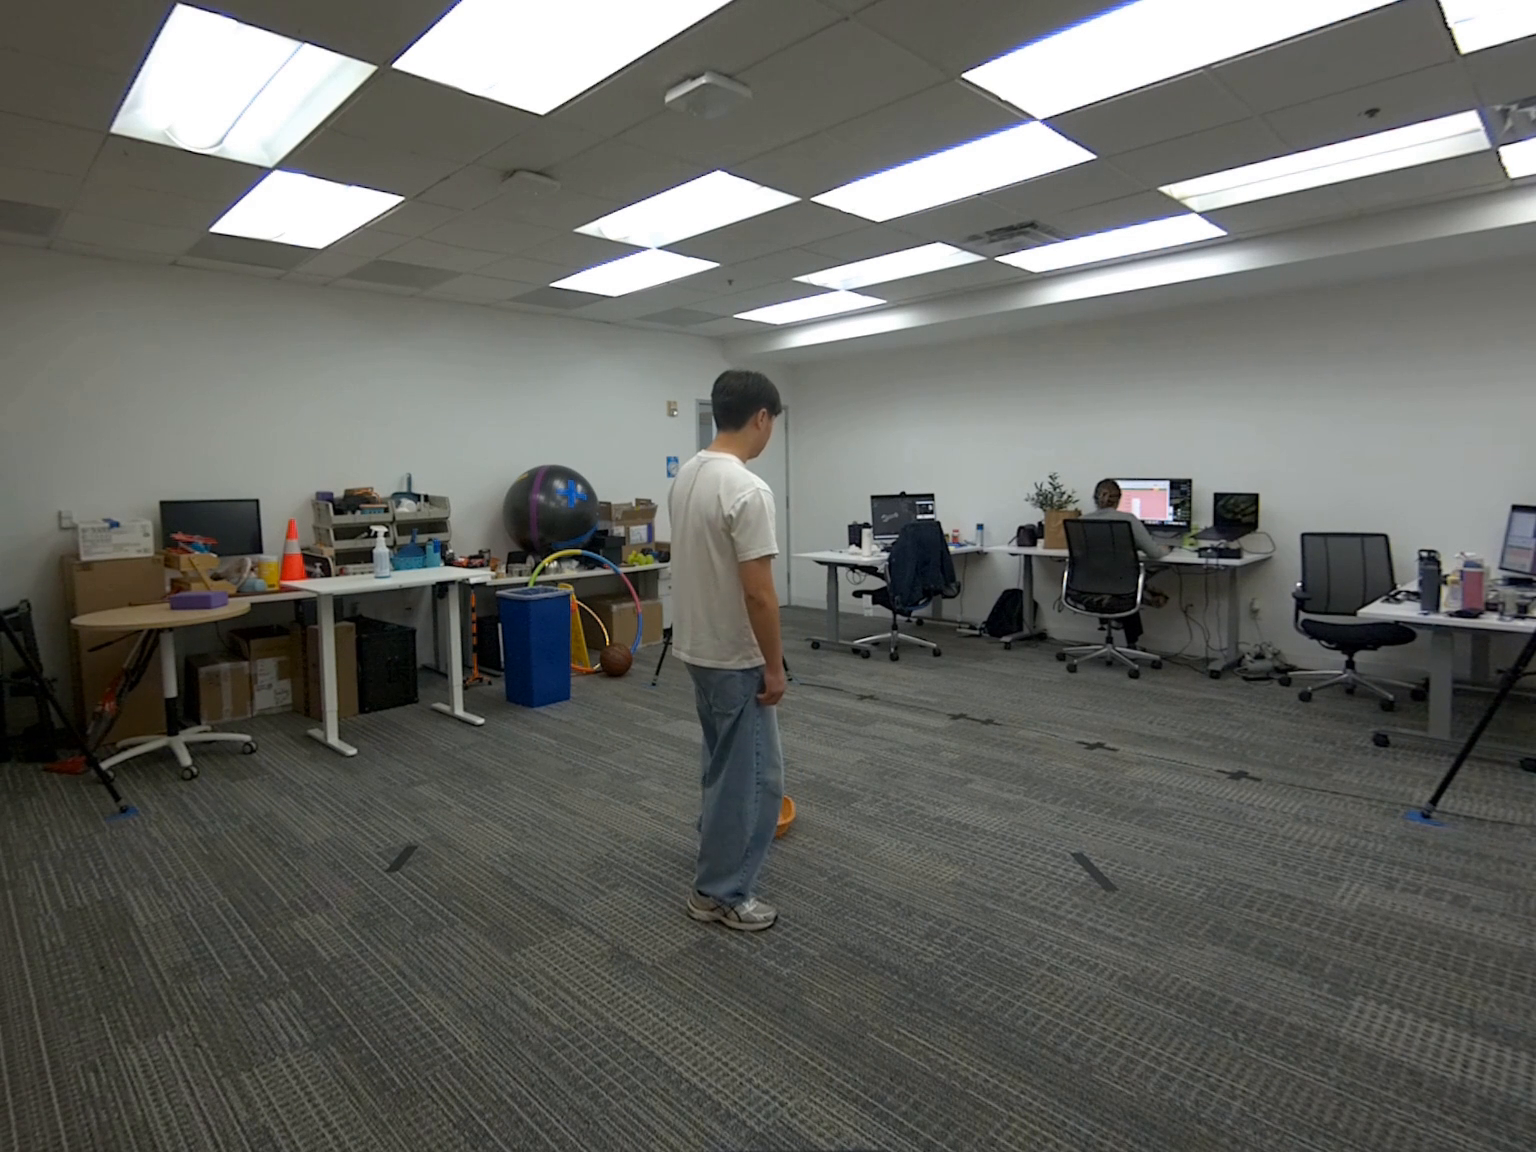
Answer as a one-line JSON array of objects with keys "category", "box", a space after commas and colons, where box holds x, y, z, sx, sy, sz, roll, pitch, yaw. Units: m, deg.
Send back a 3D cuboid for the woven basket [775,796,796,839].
[{"category": "woven basket", "box": [0.001, 0.967, 3.441, 0.253, 0.073, 0.351, -1, 7, 2]}]
